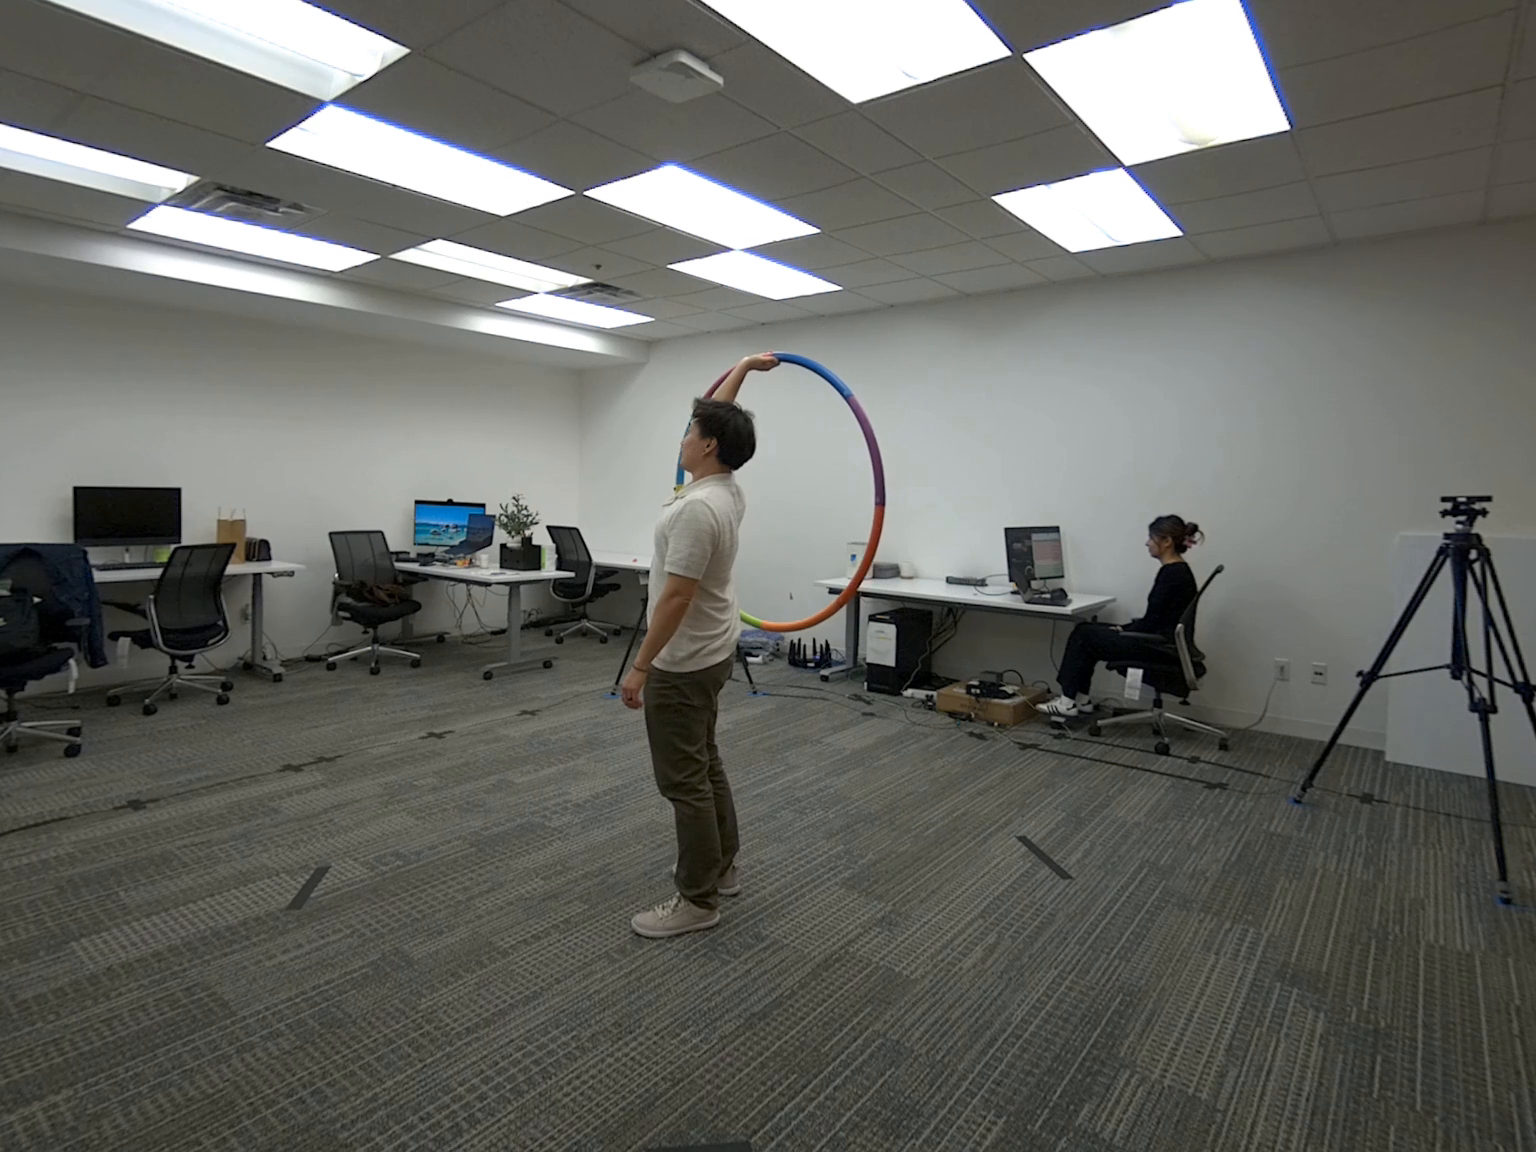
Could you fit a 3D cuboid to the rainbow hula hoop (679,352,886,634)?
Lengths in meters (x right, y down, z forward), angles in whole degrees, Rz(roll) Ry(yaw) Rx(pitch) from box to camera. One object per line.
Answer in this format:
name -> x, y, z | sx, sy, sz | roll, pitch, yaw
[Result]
rainbow hula hoop -> -0.016, -0.299, 3.040 | 1.012, 0.974, 0.034 | 5, 7, 43
